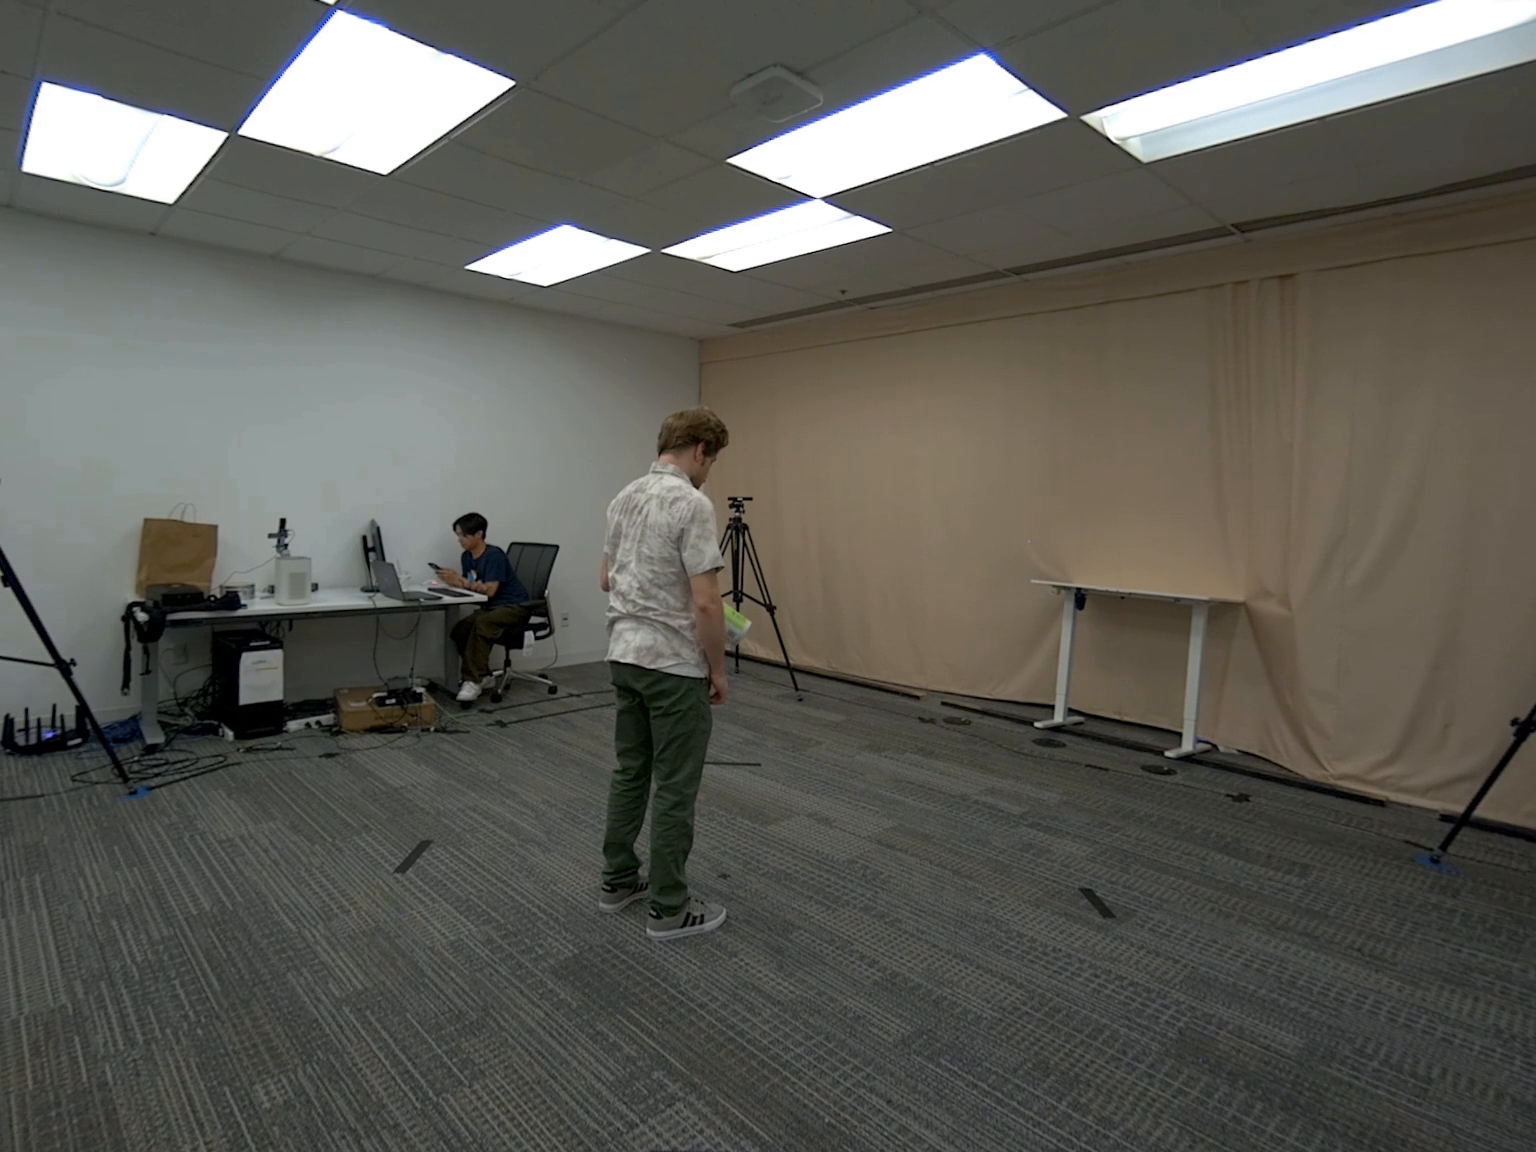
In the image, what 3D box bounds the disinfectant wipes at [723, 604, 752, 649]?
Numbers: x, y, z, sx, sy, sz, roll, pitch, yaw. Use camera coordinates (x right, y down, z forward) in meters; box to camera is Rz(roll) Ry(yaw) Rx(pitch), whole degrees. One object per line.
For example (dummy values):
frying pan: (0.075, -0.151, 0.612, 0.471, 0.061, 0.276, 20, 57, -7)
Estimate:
disinfectant wipes: (-0.183, 0.155, 3.087, 0.217, 0.118, 0.118, 39, 2, -2)
